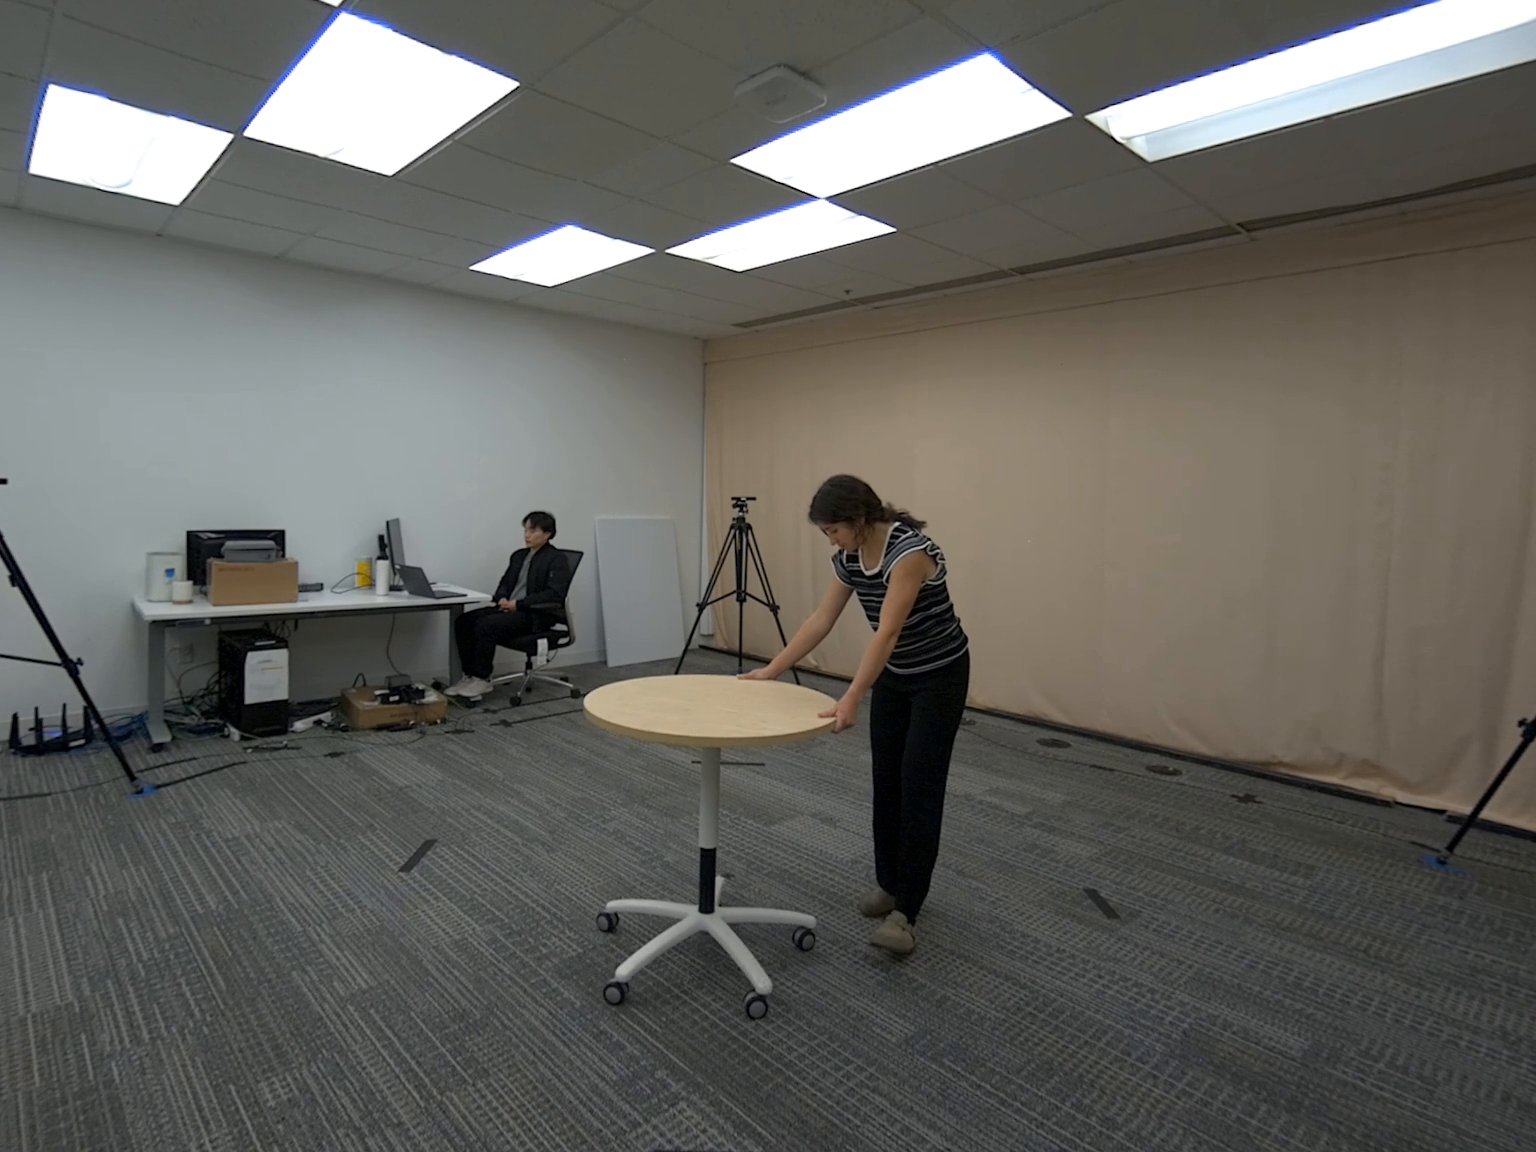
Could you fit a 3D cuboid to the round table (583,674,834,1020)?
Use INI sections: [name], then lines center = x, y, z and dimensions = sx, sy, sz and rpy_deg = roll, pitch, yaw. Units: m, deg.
[round table]
center = -0.191, 0.771, 2.538
dimensions = 0.763, 0.792, 0.767
rpy_deg = 2, 4, -2
